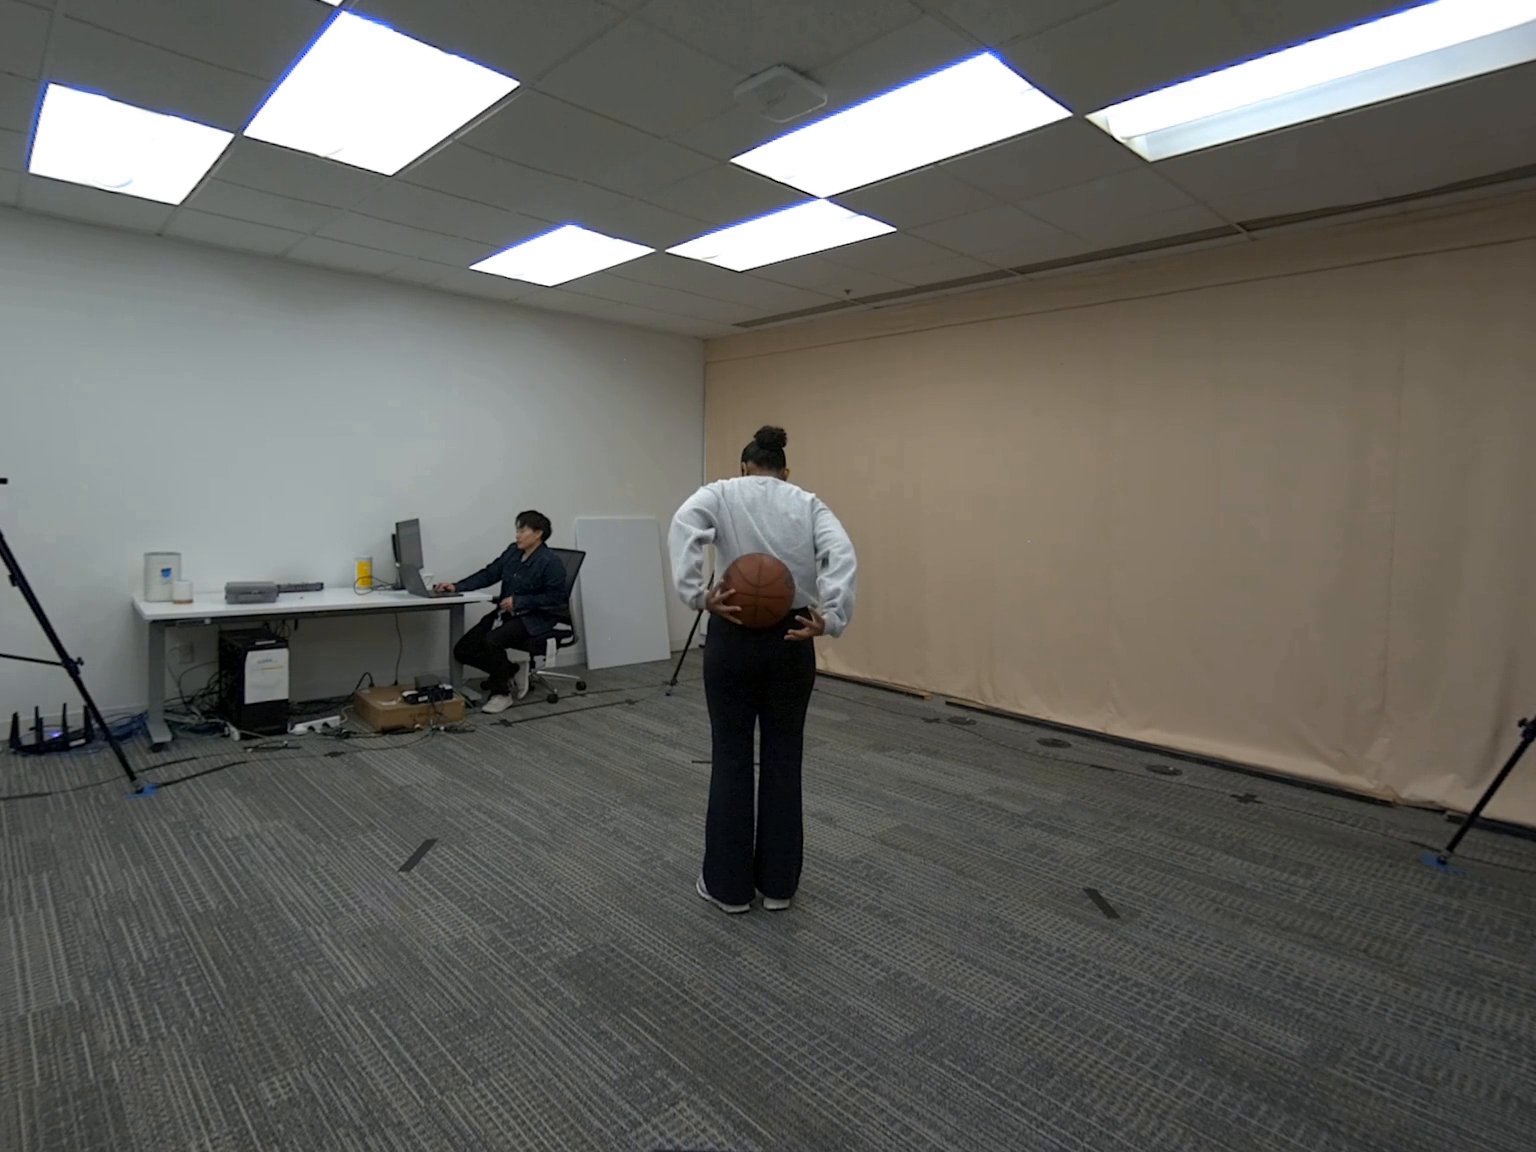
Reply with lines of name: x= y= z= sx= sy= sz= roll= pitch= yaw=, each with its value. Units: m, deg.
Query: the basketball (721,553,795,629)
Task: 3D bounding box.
basketball: x=-0.030 y=0.044 z=2.671 sx=0.236 sy=0.235 sz=0.237 roll=1 pitch=4 yaw=-1
